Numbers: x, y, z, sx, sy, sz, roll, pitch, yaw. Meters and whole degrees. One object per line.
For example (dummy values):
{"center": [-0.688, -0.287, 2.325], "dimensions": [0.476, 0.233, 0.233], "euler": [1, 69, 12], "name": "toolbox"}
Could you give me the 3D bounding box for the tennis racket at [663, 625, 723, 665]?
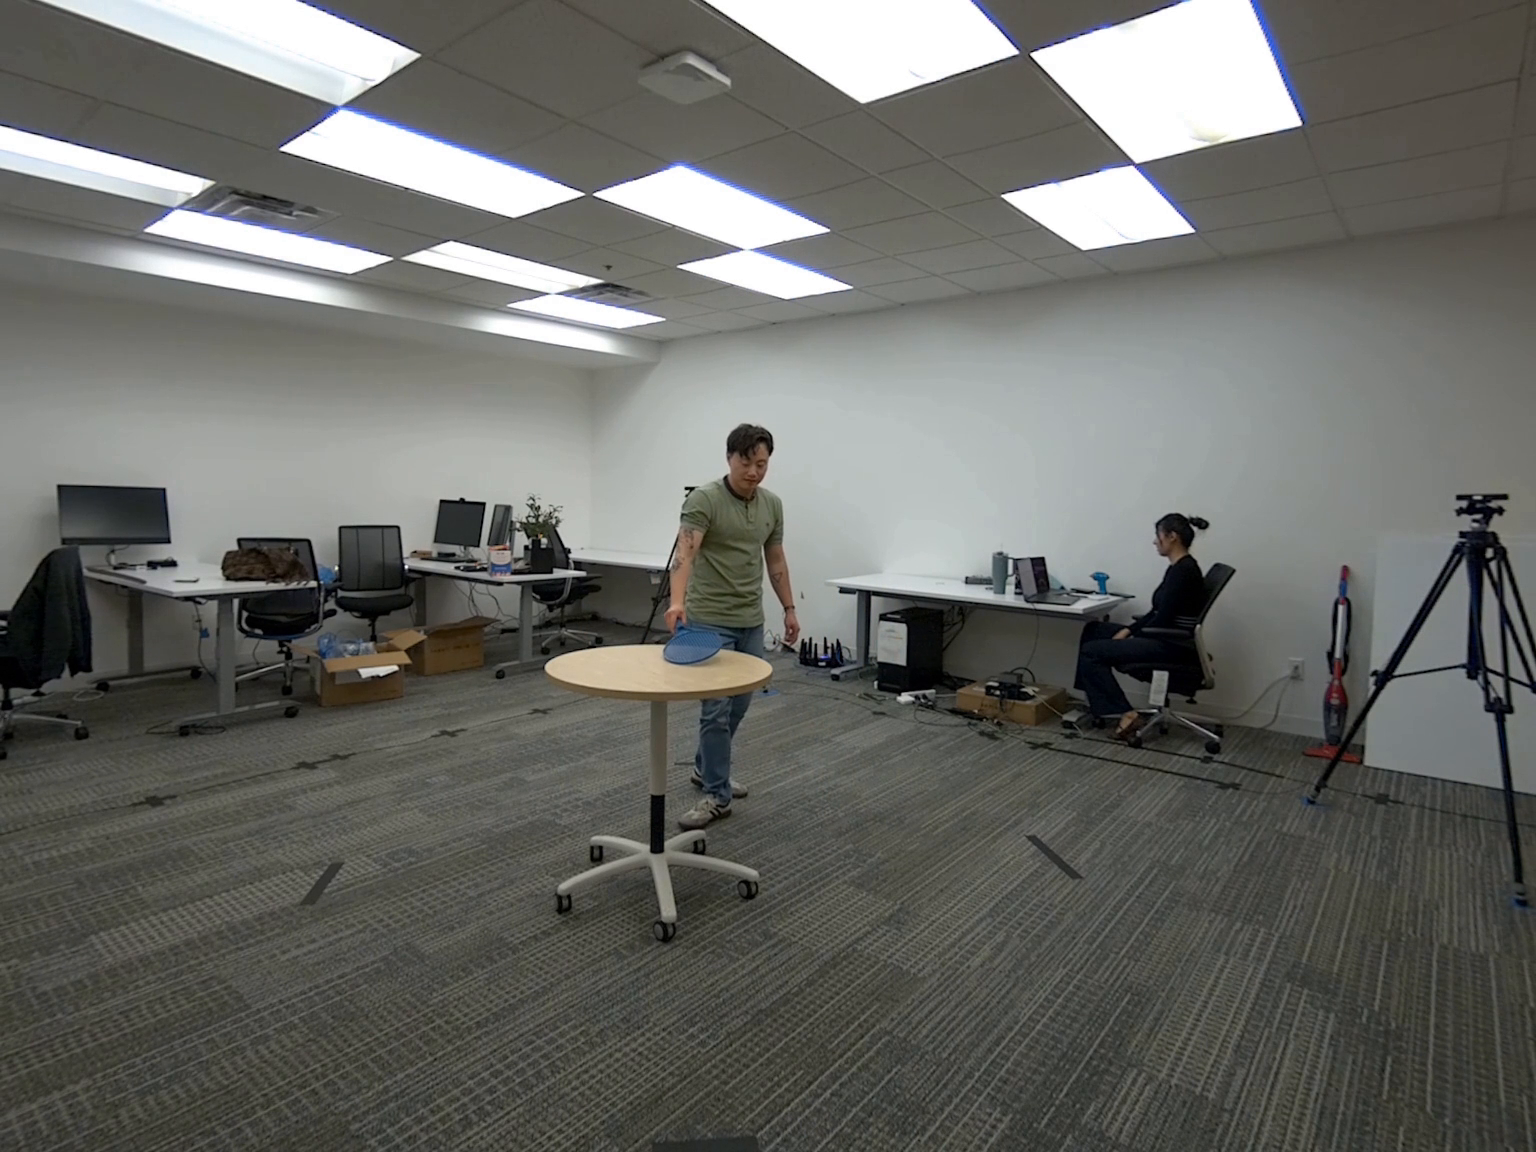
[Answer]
{"center": [-0.307, 0.229, 3.083], "dimensions": [0.212, 0.031, 0.445], "euler": [-17, 20, -10], "name": "tennis racket"}
